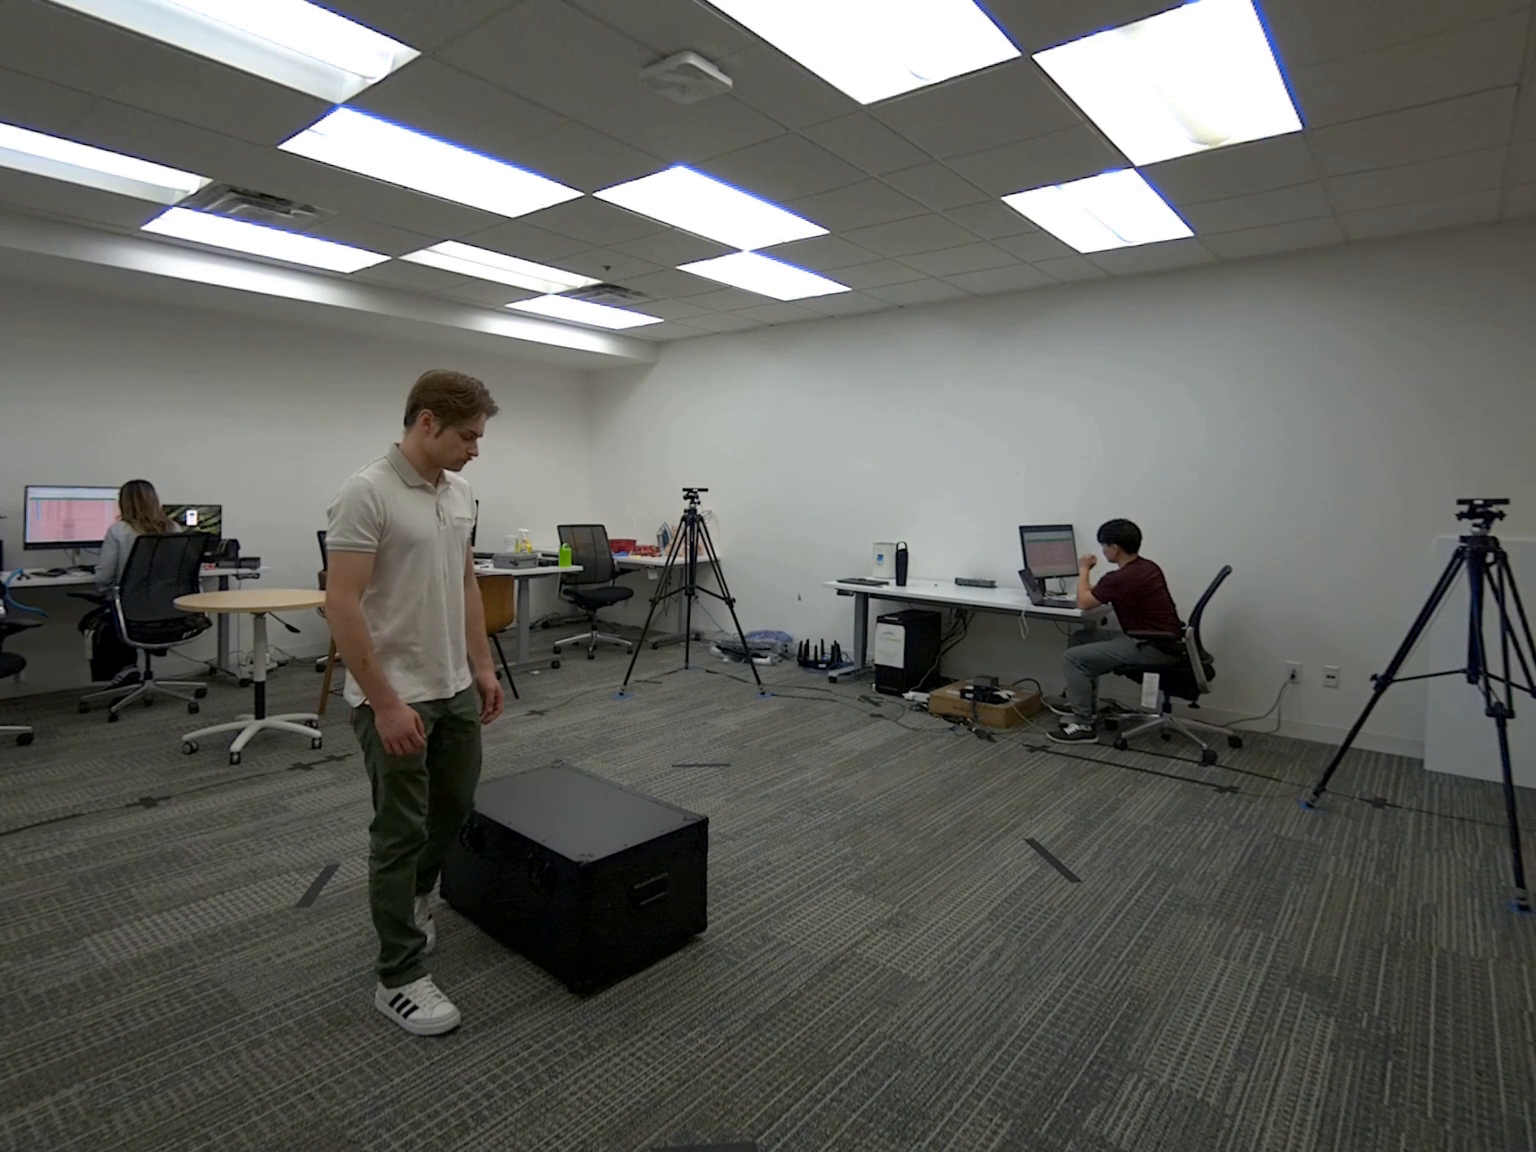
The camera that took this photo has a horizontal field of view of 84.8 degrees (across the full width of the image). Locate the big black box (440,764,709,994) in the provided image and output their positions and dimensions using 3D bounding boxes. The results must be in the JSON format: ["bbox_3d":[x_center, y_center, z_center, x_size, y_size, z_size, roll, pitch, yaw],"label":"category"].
[{"bbox_3d":[-0.667,0.909,2.742,0.891,0.395,0.506,6,7,42],"label":"big black box"}]
